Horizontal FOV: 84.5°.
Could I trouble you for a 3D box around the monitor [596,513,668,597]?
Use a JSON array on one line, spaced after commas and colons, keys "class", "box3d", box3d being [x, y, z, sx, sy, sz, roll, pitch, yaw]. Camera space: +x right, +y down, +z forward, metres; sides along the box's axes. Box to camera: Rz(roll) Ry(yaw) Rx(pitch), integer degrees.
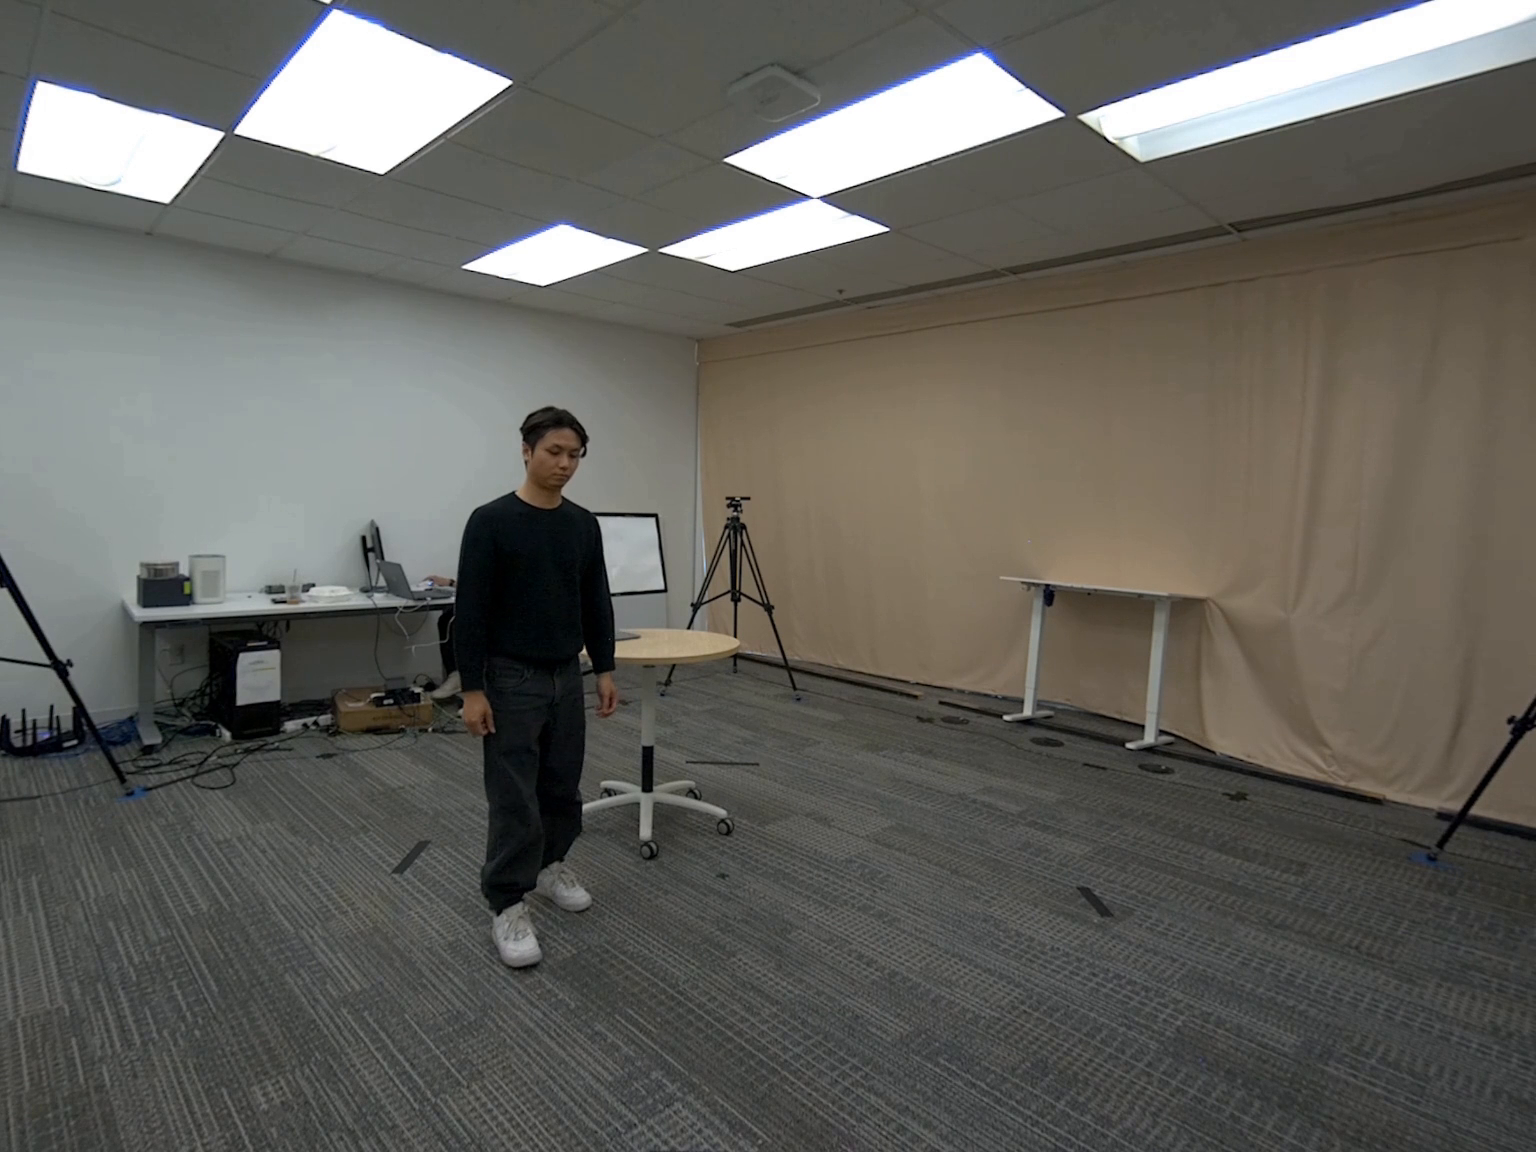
[{"class": "monitor", "box3d": [-0.708, 0.000, 3.637, 0.192, 0.521, 0.527, 4, 4, 42]}]
